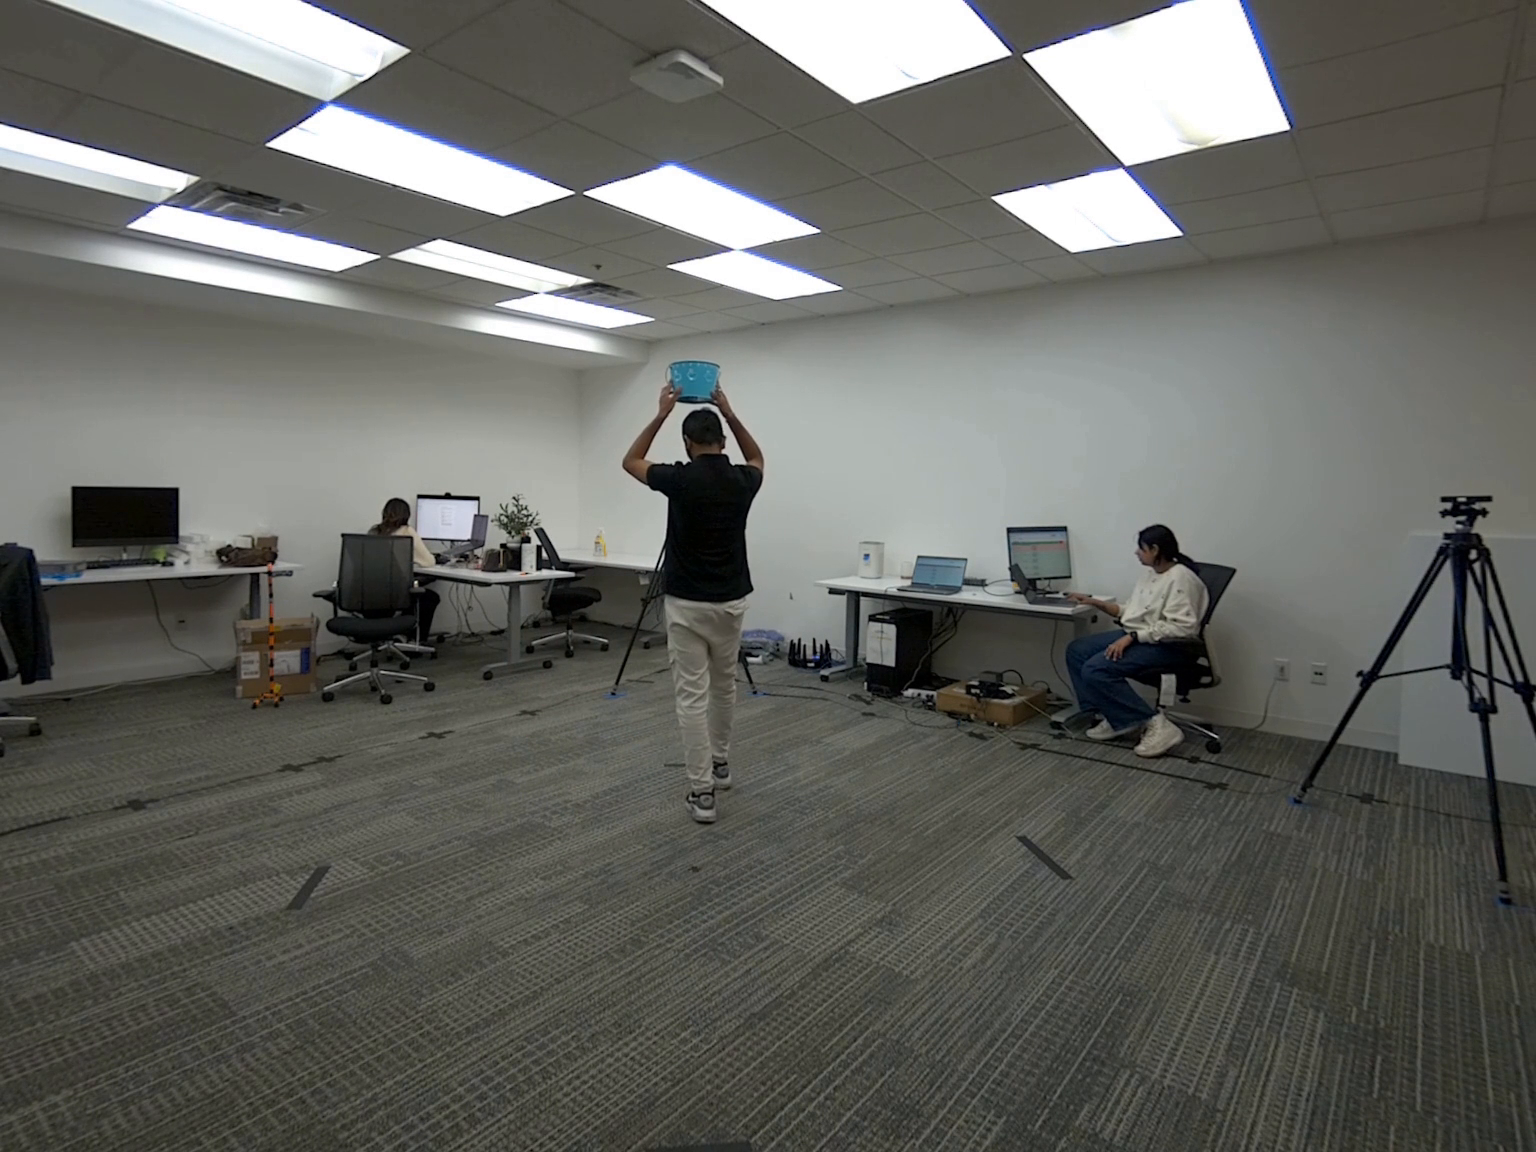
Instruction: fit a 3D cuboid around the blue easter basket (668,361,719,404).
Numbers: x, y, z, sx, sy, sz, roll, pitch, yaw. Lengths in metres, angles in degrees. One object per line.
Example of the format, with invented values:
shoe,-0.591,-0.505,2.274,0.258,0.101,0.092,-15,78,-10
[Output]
blue easter basket,-0.339,-0.873,3.823,0.243,0.156,0.244,3,0,-2
